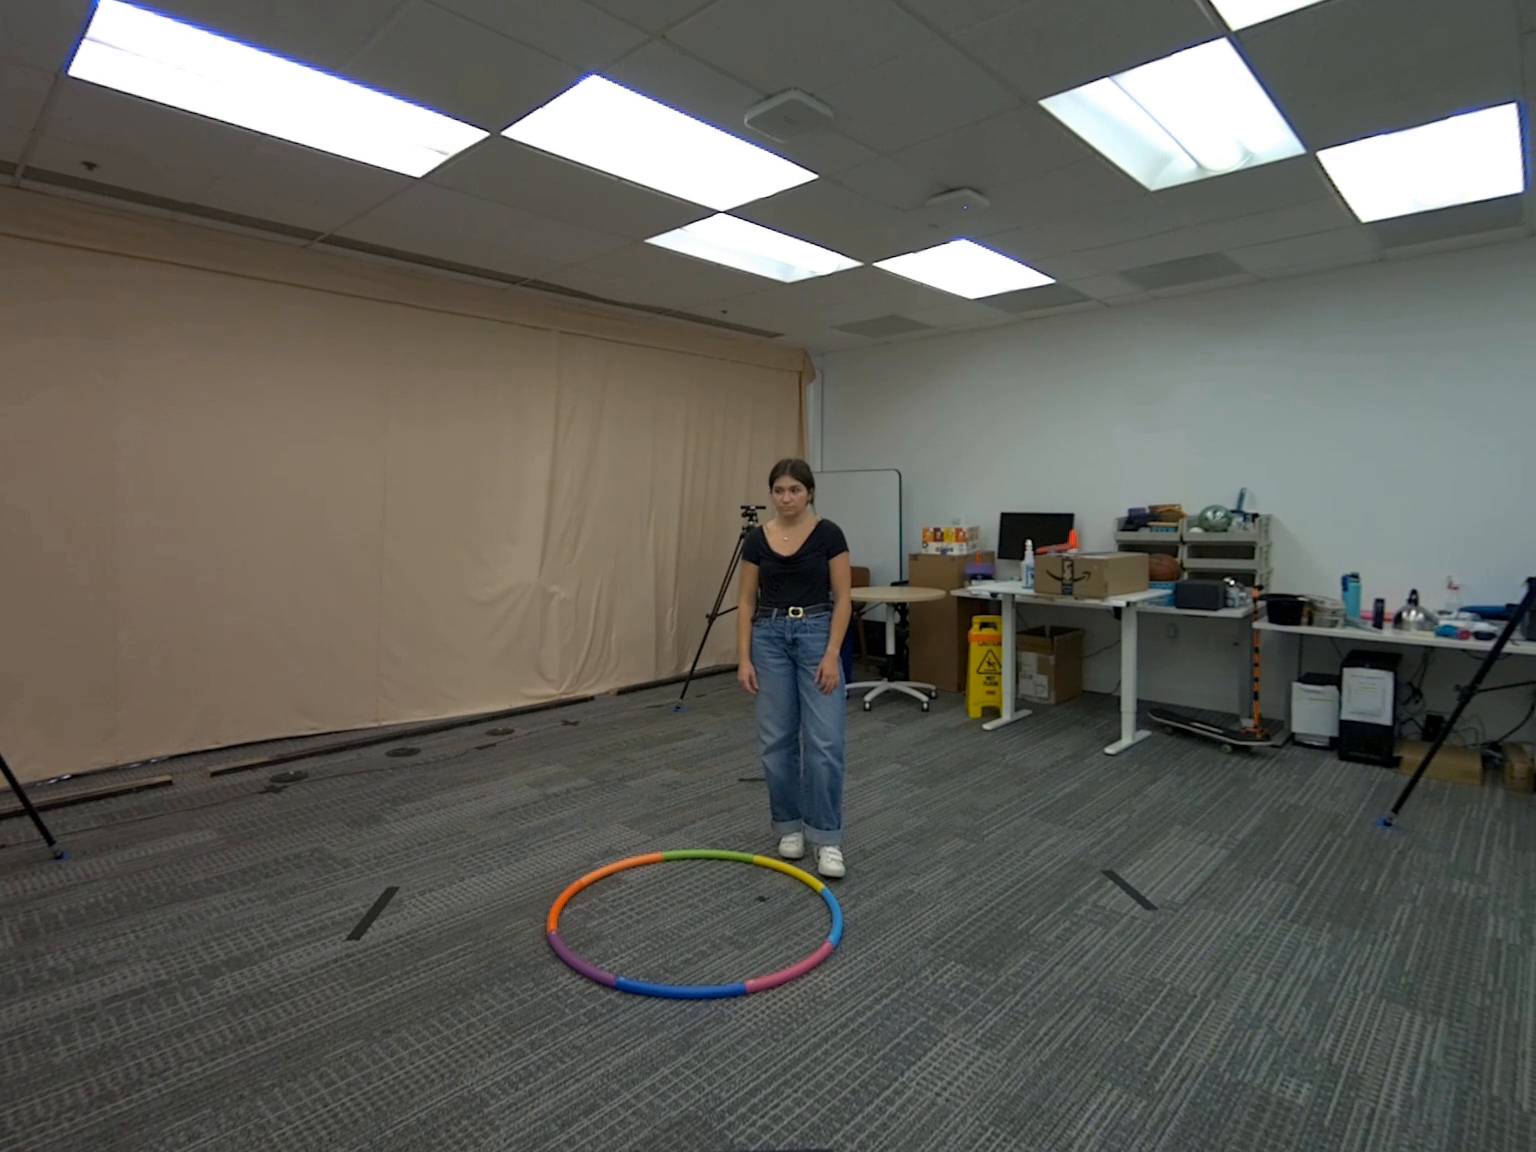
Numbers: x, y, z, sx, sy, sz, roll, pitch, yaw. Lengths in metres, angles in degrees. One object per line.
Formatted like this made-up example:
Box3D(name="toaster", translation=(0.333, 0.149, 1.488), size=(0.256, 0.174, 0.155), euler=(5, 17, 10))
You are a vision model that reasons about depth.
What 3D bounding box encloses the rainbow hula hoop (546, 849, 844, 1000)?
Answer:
Box3D(name="rainbow hula hoop", translation=(-0.238, 1.129, 2.854), size=(0.978, 0.035, 0.982), euler=(0, 5, -2))
